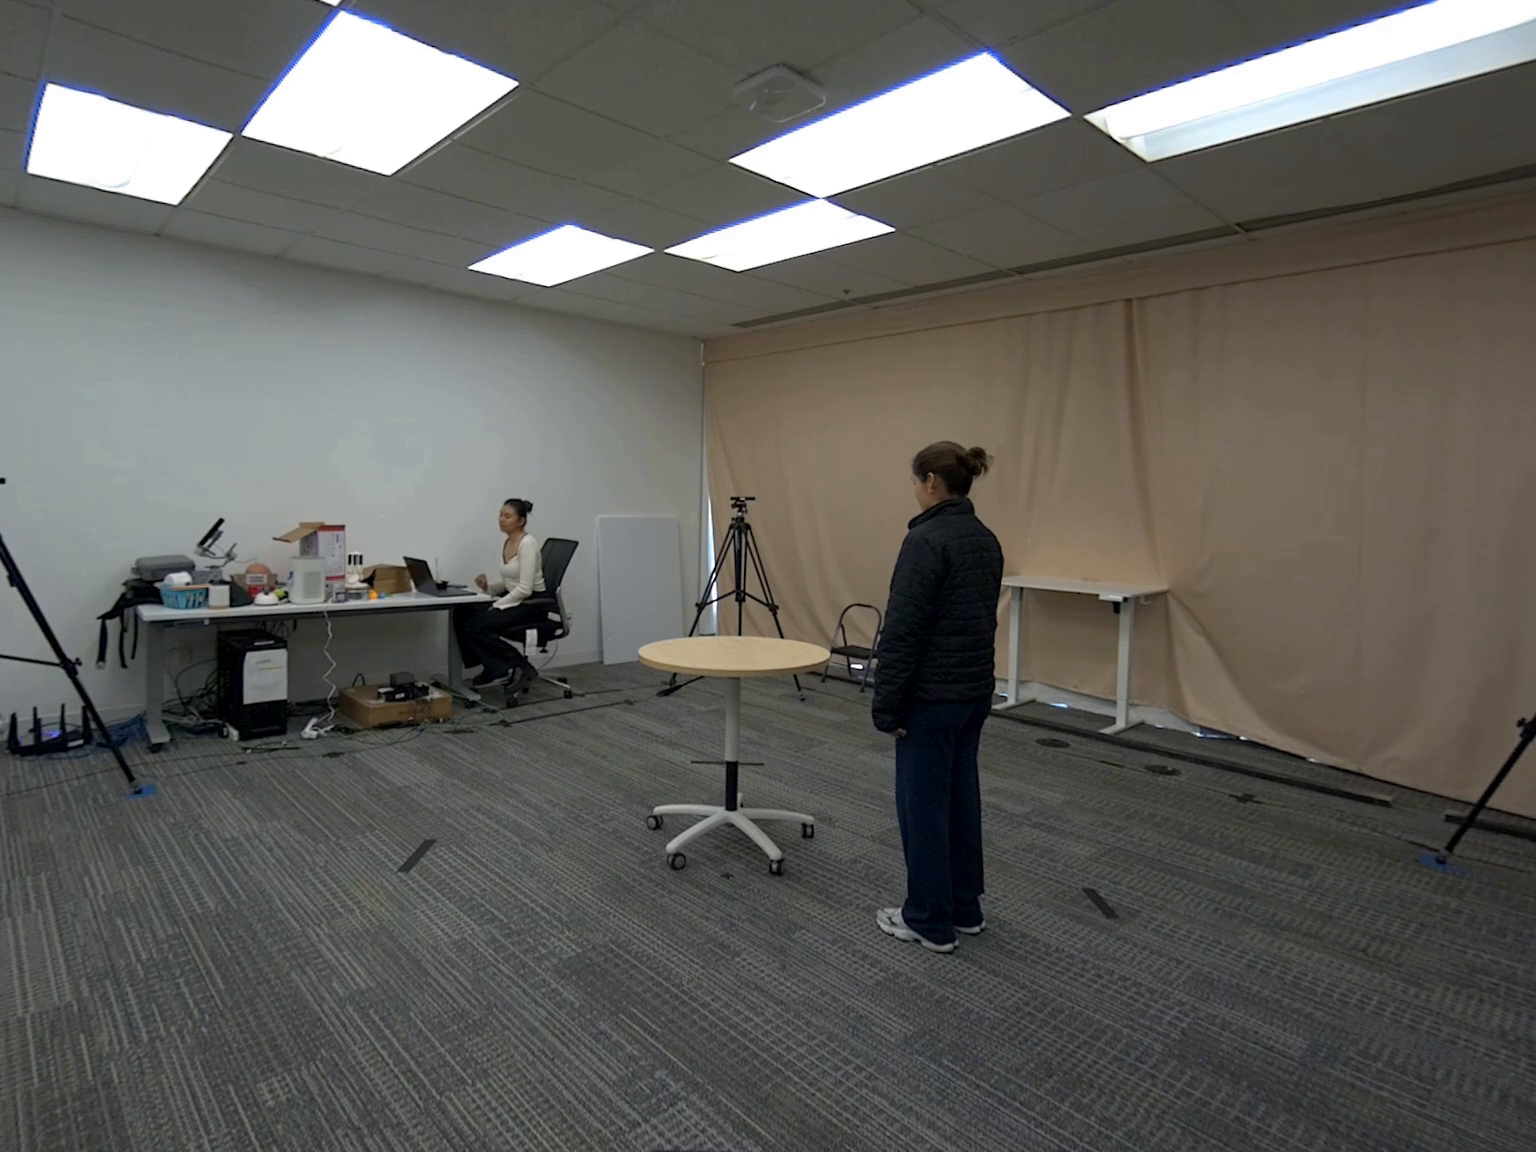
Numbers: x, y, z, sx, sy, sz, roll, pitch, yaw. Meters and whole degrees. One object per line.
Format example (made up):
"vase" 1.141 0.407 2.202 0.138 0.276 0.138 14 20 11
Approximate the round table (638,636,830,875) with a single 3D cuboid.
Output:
"round table" -0.134 0.691 3.368 0.784 0.785 0.787 1 4 -1
